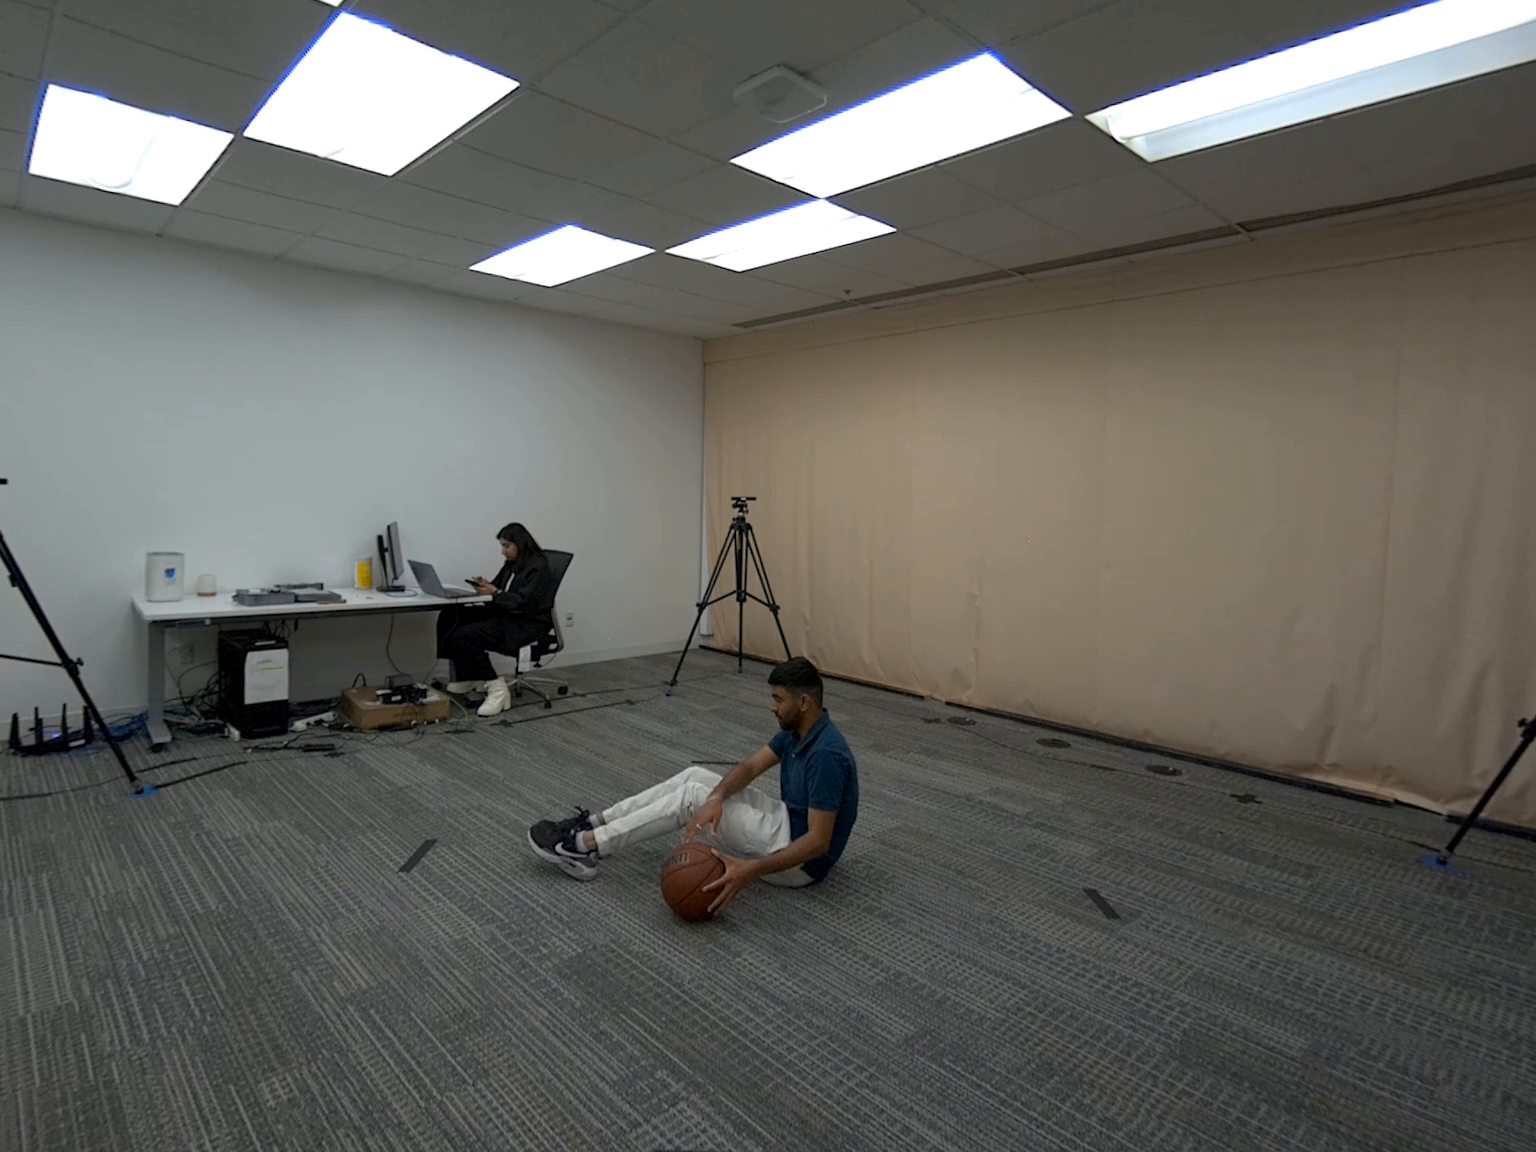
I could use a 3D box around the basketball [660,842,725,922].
[{"bbox_3d":[-0.256,1.012,2.793,0.236,0.235,0.237,1,4,-1],"label":"basketball"}]
